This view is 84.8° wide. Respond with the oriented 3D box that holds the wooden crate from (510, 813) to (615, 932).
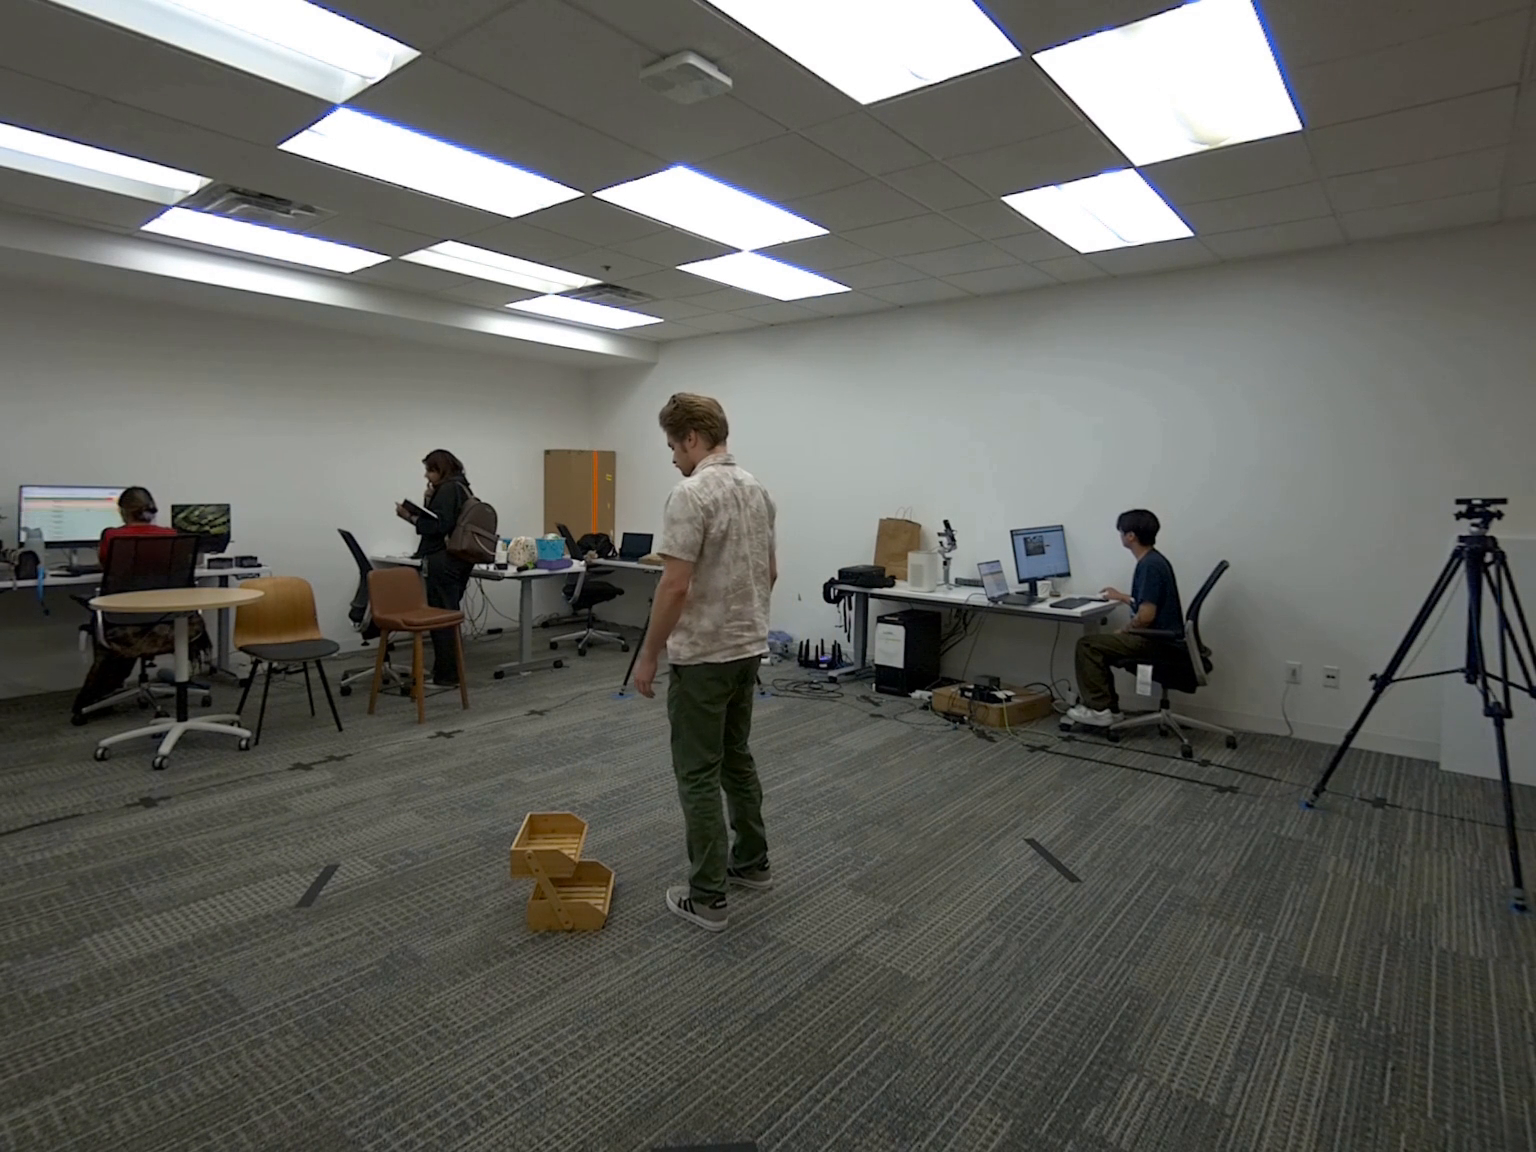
[{"bbox_3d":[-0.679,0.963,2.805,0.301,0.272,0.327,-1,5,-4],"label":"wooden crate"}]
